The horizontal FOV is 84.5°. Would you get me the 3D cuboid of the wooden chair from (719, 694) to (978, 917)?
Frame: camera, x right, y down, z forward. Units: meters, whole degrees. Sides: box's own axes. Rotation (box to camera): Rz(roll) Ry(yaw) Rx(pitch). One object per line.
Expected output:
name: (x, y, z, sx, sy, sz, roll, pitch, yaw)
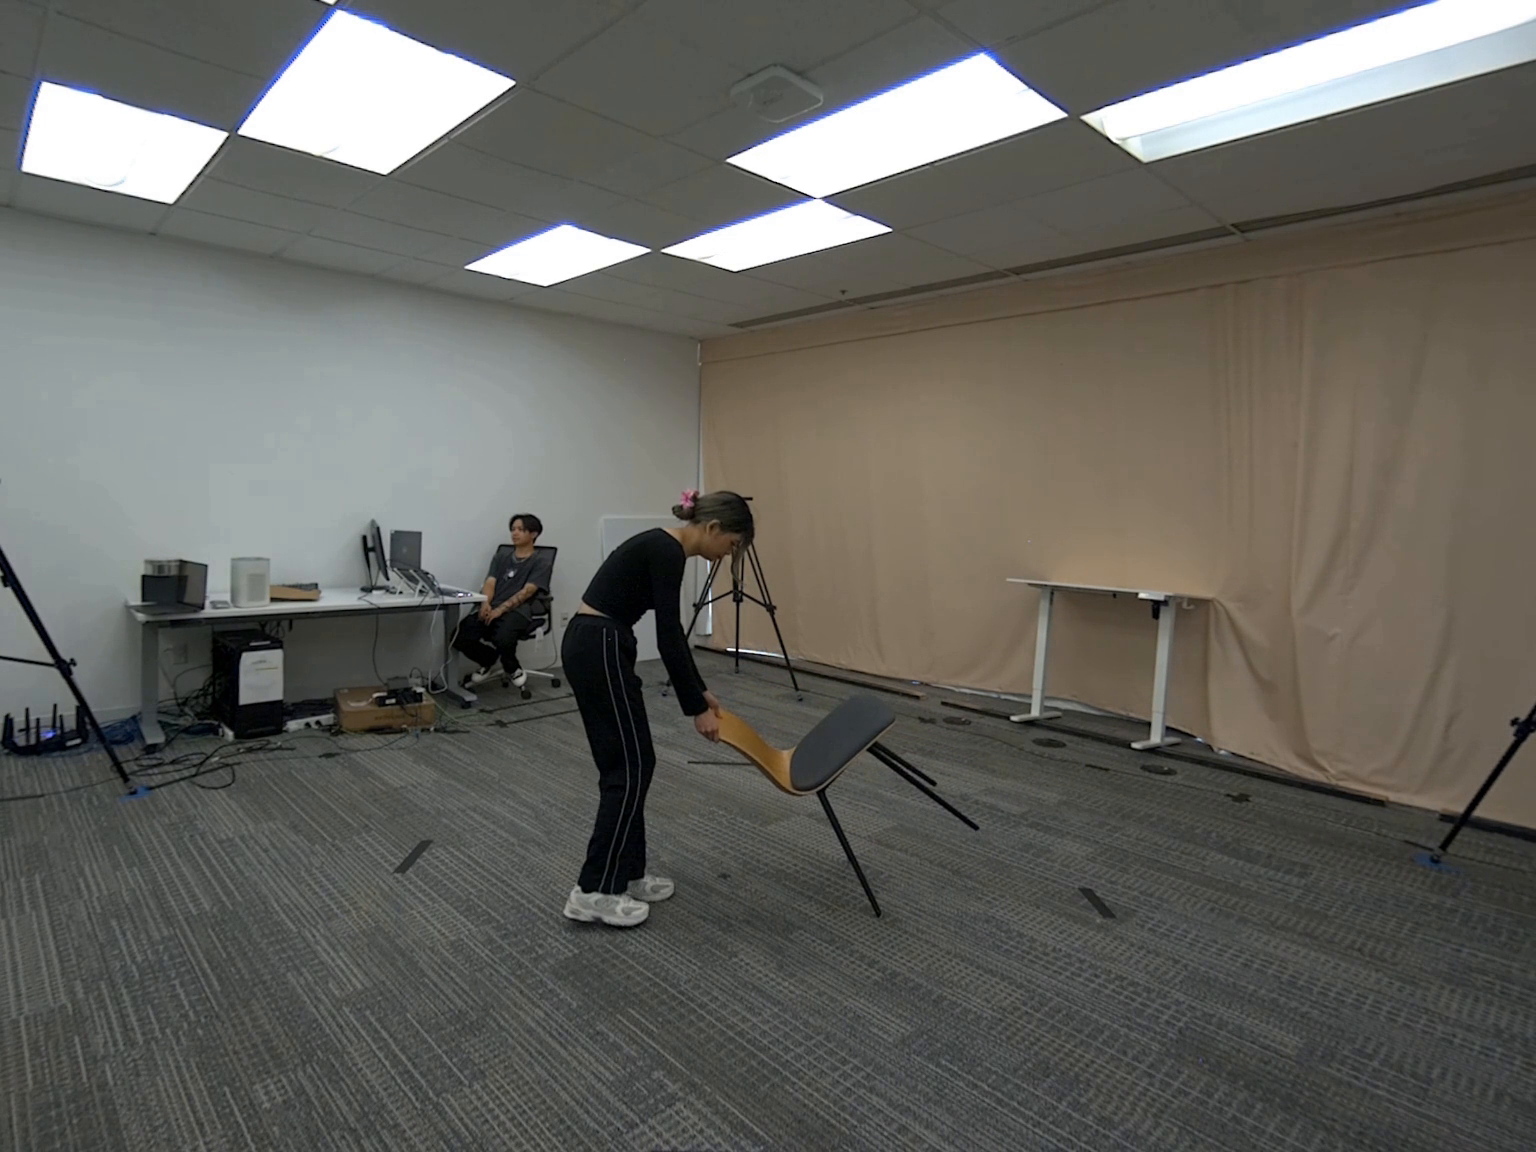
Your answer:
wooden chair: (0.232, 0.643, 3.005, 0.872, 0.523, 0.481, 44, 0, -6)
